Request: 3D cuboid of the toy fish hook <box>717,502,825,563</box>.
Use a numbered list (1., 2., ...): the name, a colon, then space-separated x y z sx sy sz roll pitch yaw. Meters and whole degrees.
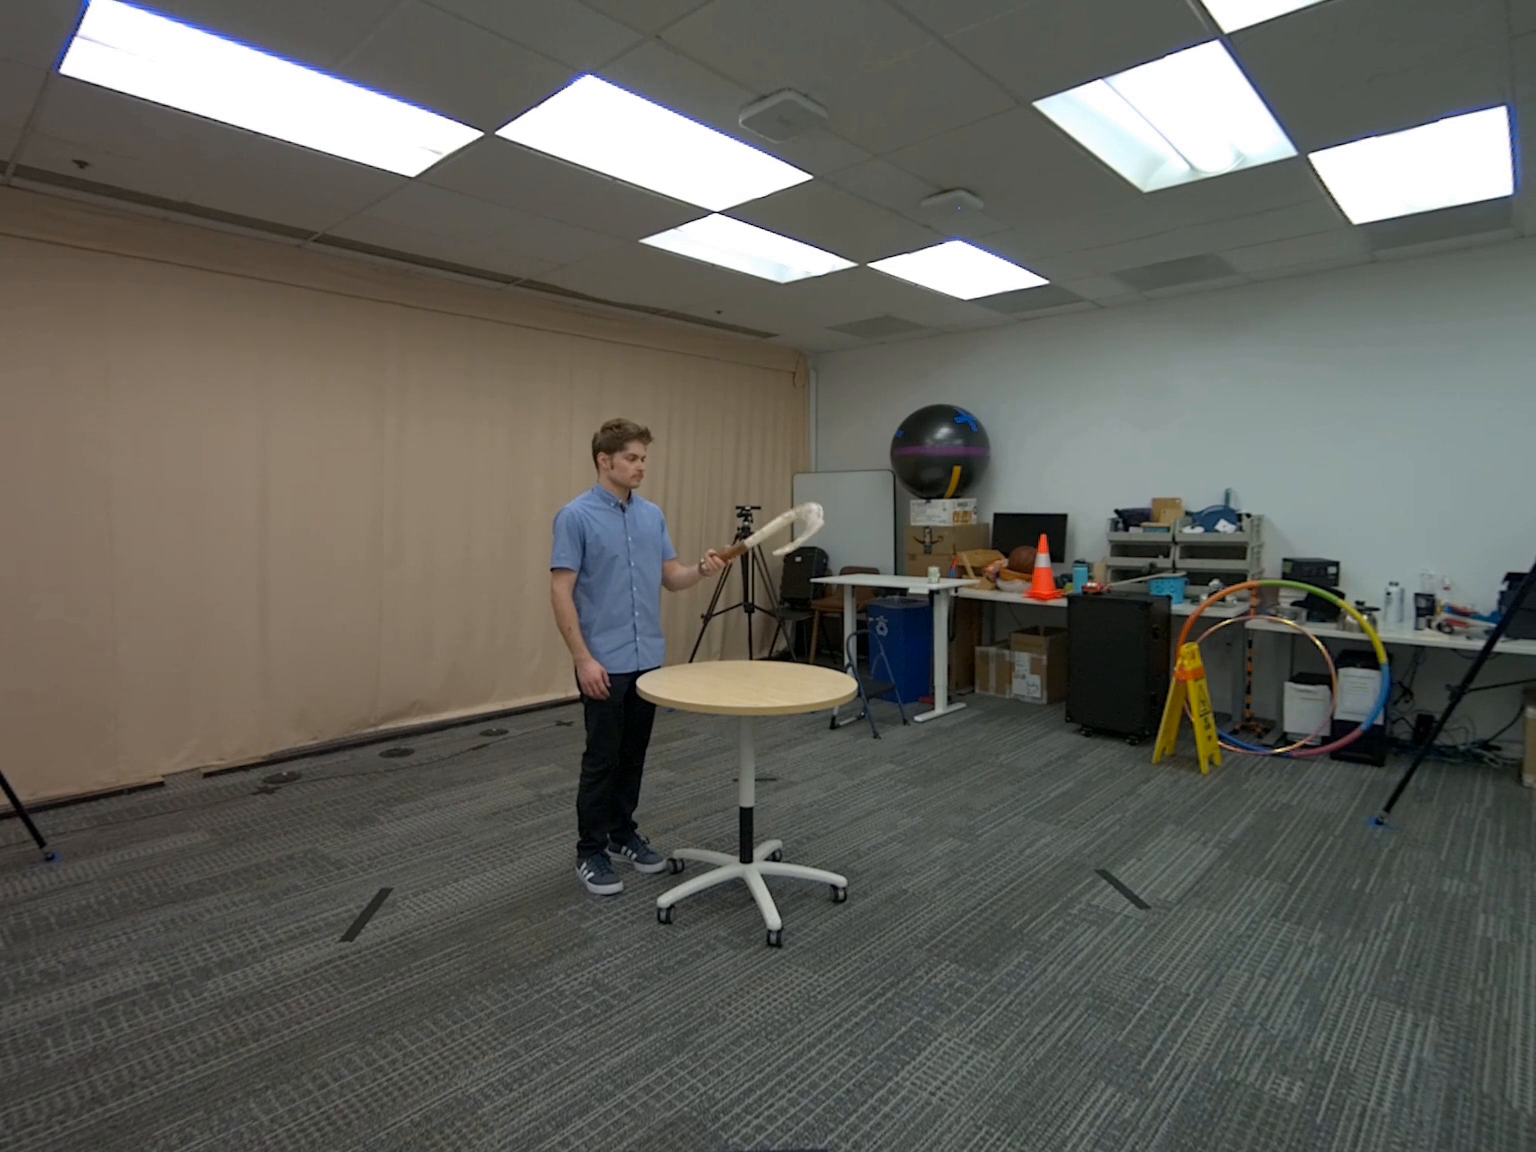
1. toy fish hook: -0.037 -0.099 2.930 0.514 0.047 0.227 -27 30 22
